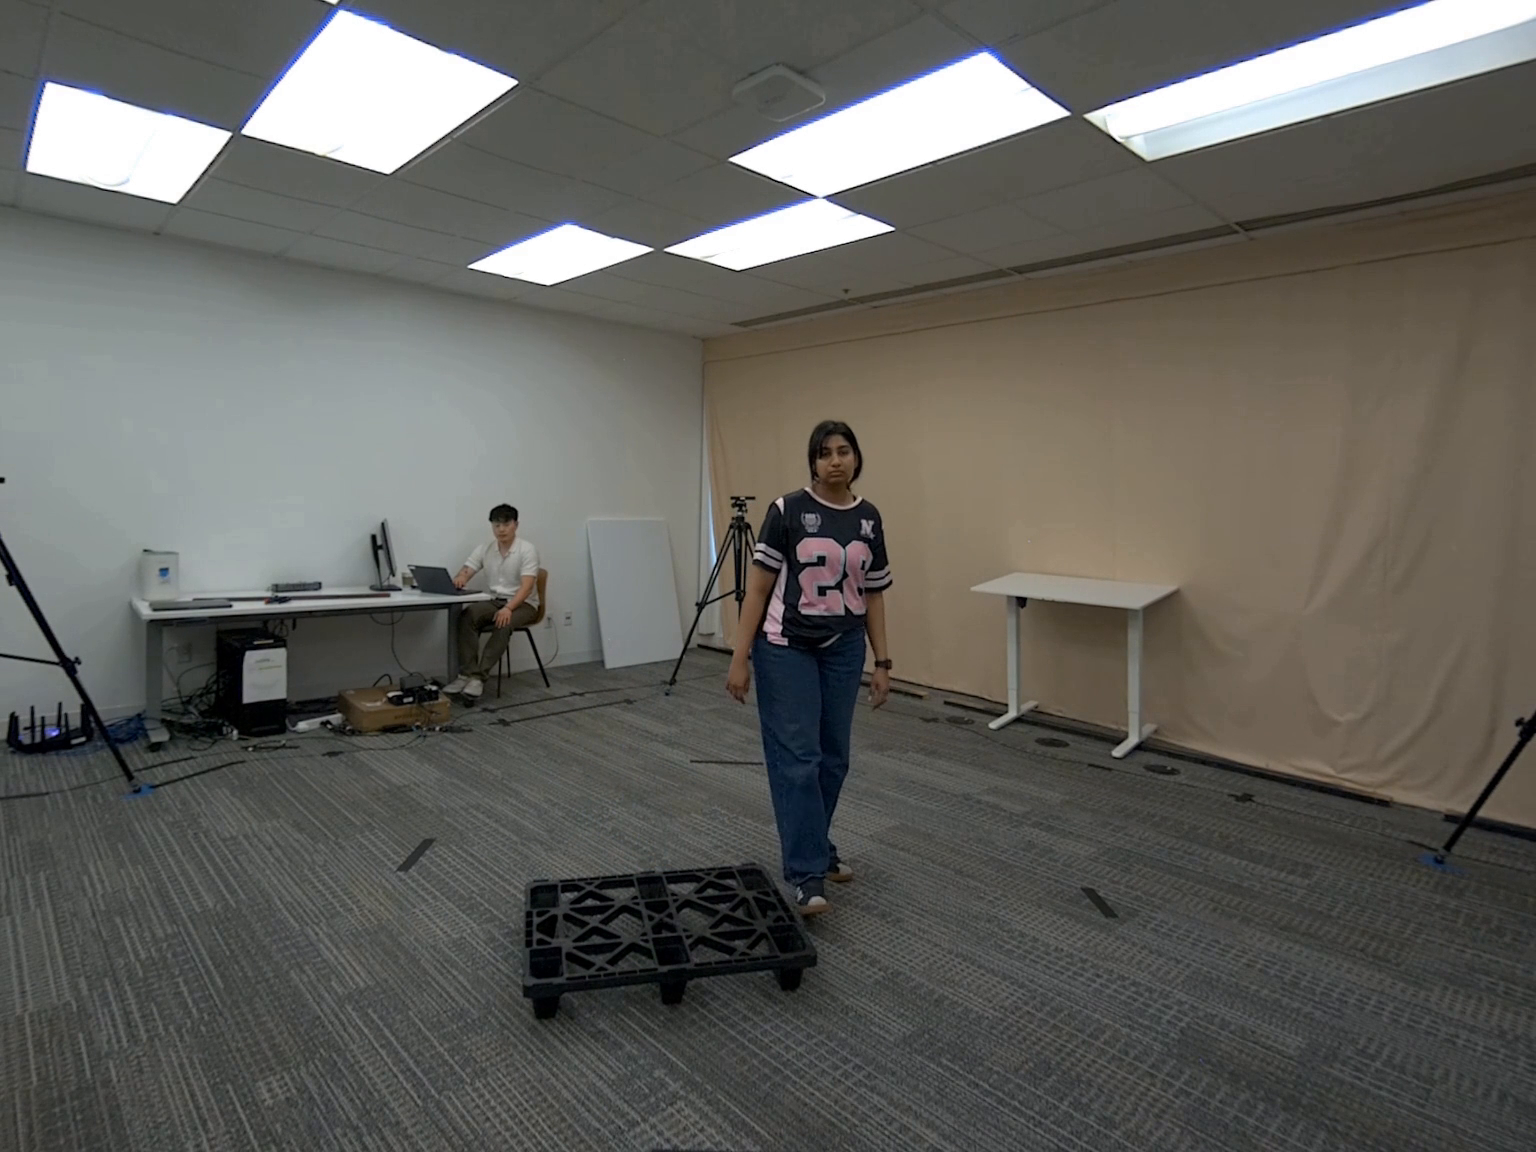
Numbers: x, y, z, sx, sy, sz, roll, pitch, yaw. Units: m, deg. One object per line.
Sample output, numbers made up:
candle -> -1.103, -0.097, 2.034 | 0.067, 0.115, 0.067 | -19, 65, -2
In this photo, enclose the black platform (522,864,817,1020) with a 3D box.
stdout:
black platform -> -0.332, 1.092, 2.520 | 0.797, 0.143, 0.614 | 0, 6, -14
